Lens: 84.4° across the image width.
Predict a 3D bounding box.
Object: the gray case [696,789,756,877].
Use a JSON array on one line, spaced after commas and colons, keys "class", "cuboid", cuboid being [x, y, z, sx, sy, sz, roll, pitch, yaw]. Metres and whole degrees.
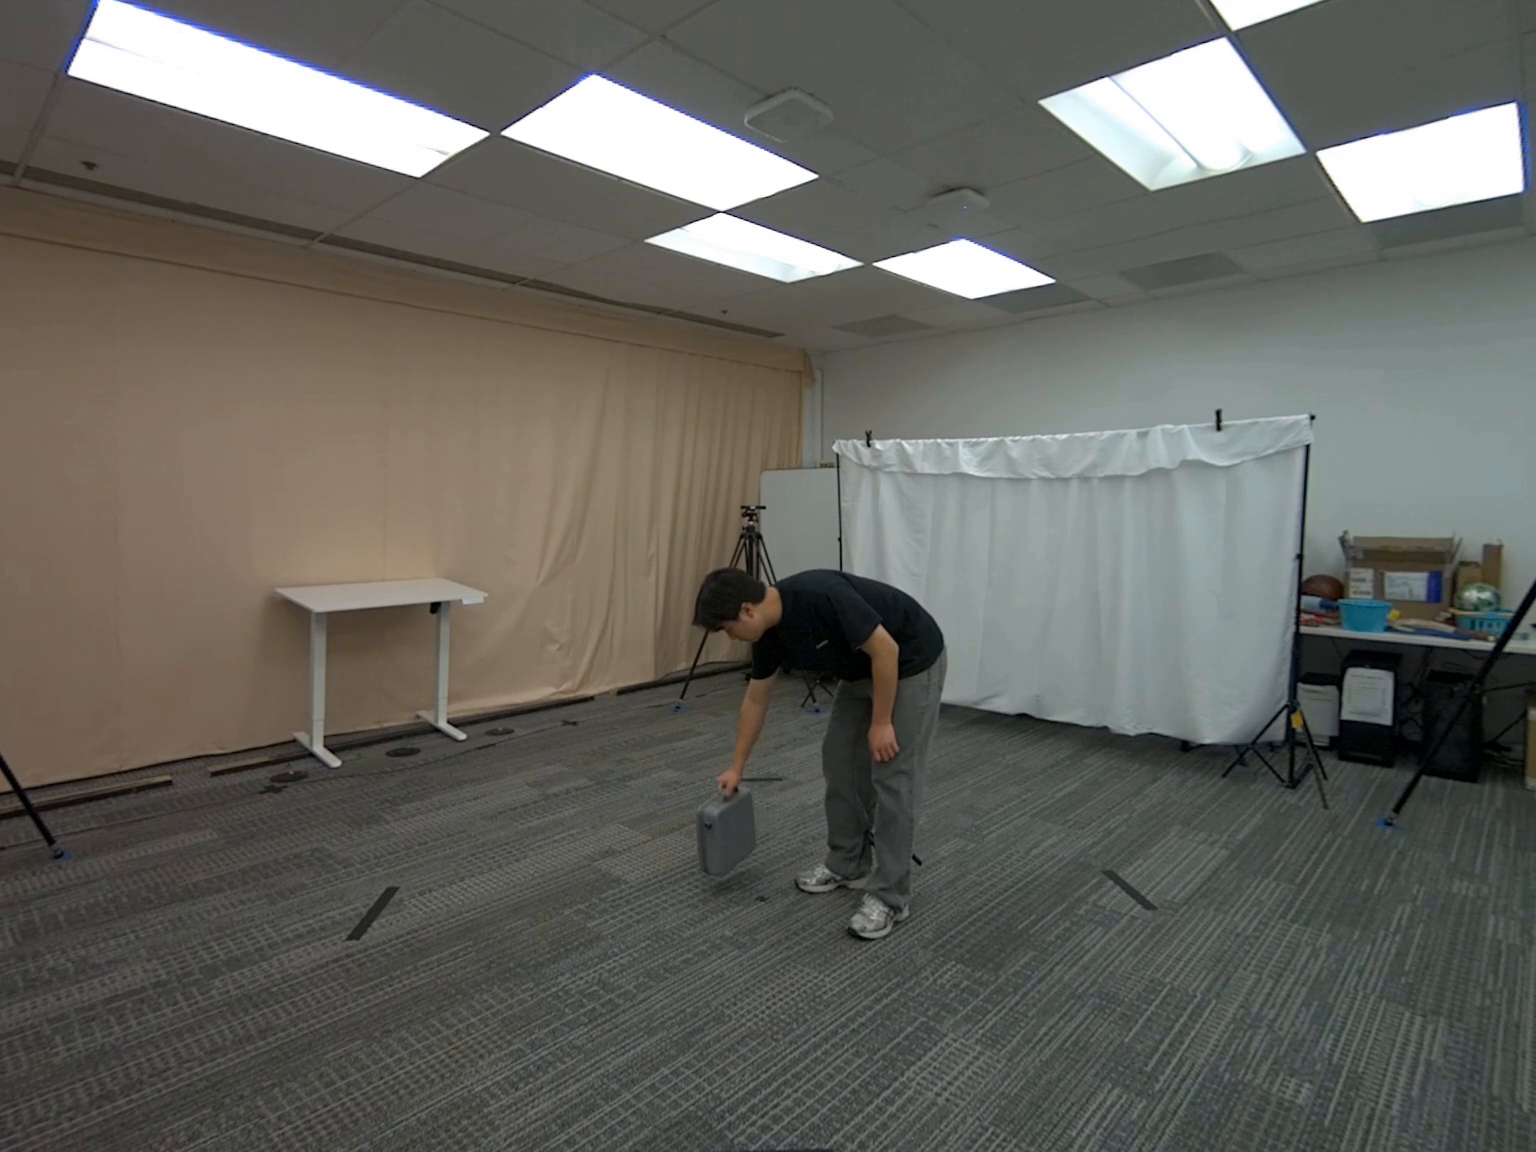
[{"class": "gray case", "cuboid": [-0.141, 0.915, 3.075, 0.106, 0.285, 0.257, 1, 10, 32]}]
